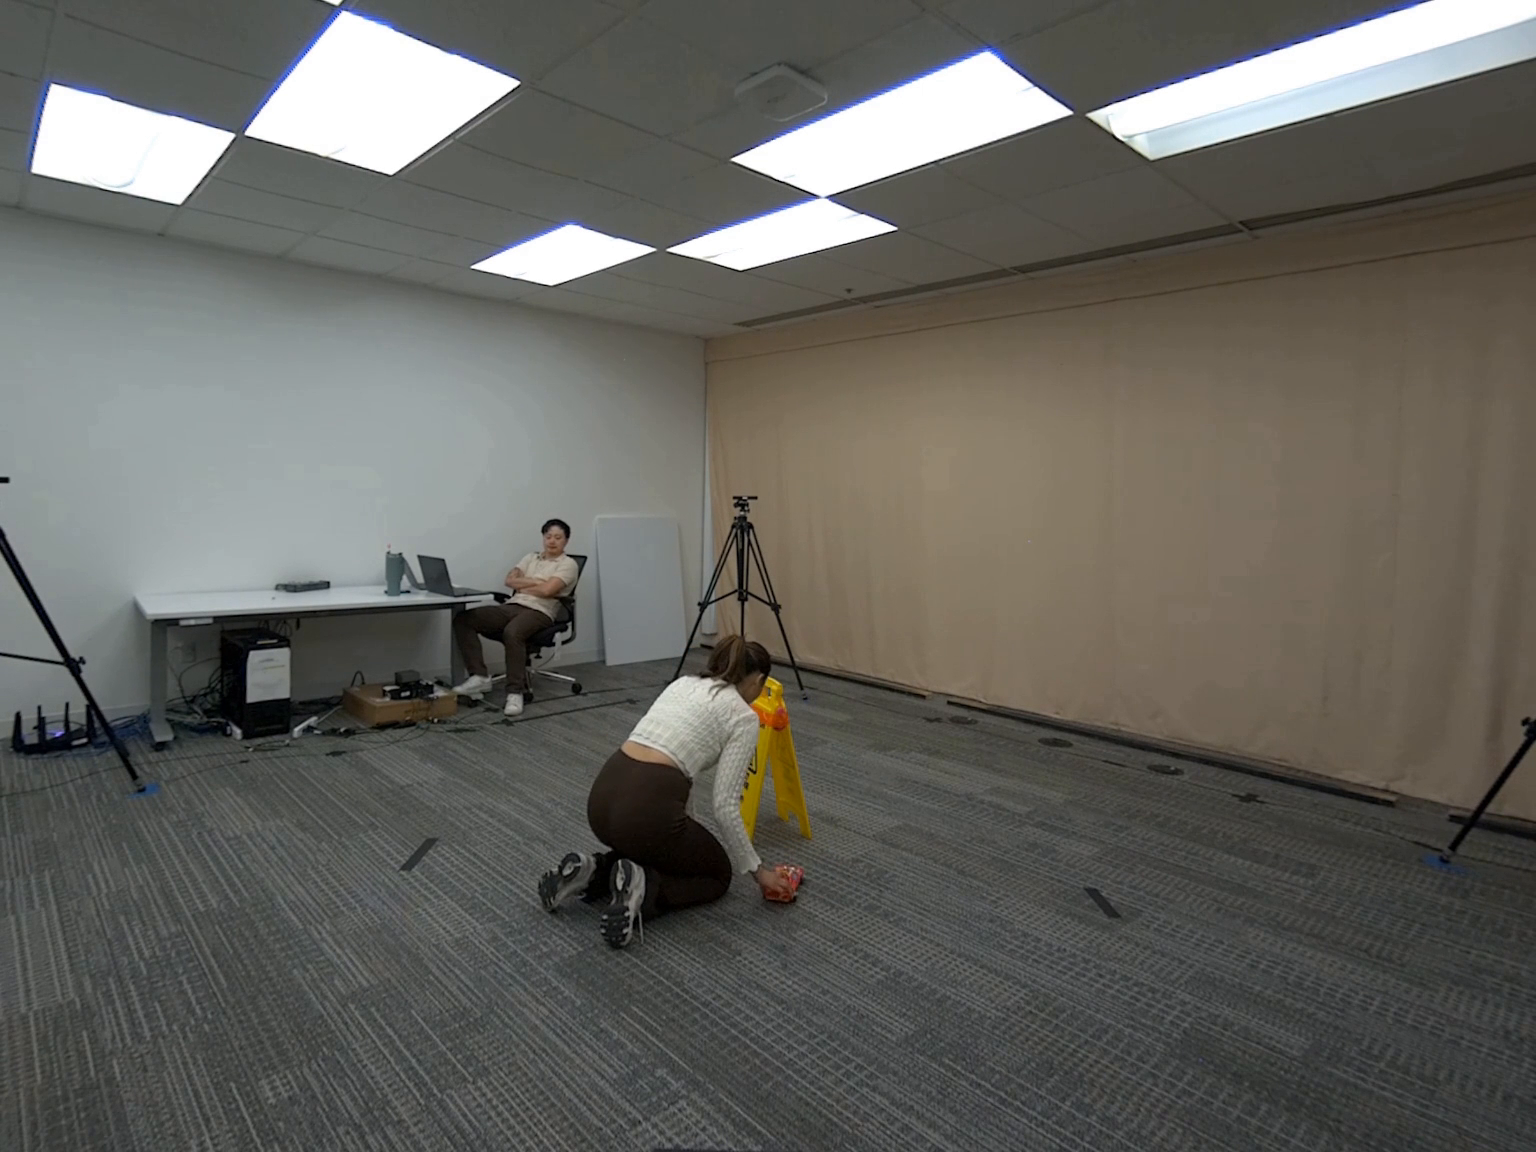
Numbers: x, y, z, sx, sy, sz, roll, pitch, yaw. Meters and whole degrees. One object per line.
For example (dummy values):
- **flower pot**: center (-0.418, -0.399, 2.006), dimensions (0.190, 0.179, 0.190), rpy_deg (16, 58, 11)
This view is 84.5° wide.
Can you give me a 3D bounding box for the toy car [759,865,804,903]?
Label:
- **toy car**: center (0.035, 1.085, 2.976), dimensions (0.132, 0.083, 0.251), rpy_deg (7, -4, 12)
